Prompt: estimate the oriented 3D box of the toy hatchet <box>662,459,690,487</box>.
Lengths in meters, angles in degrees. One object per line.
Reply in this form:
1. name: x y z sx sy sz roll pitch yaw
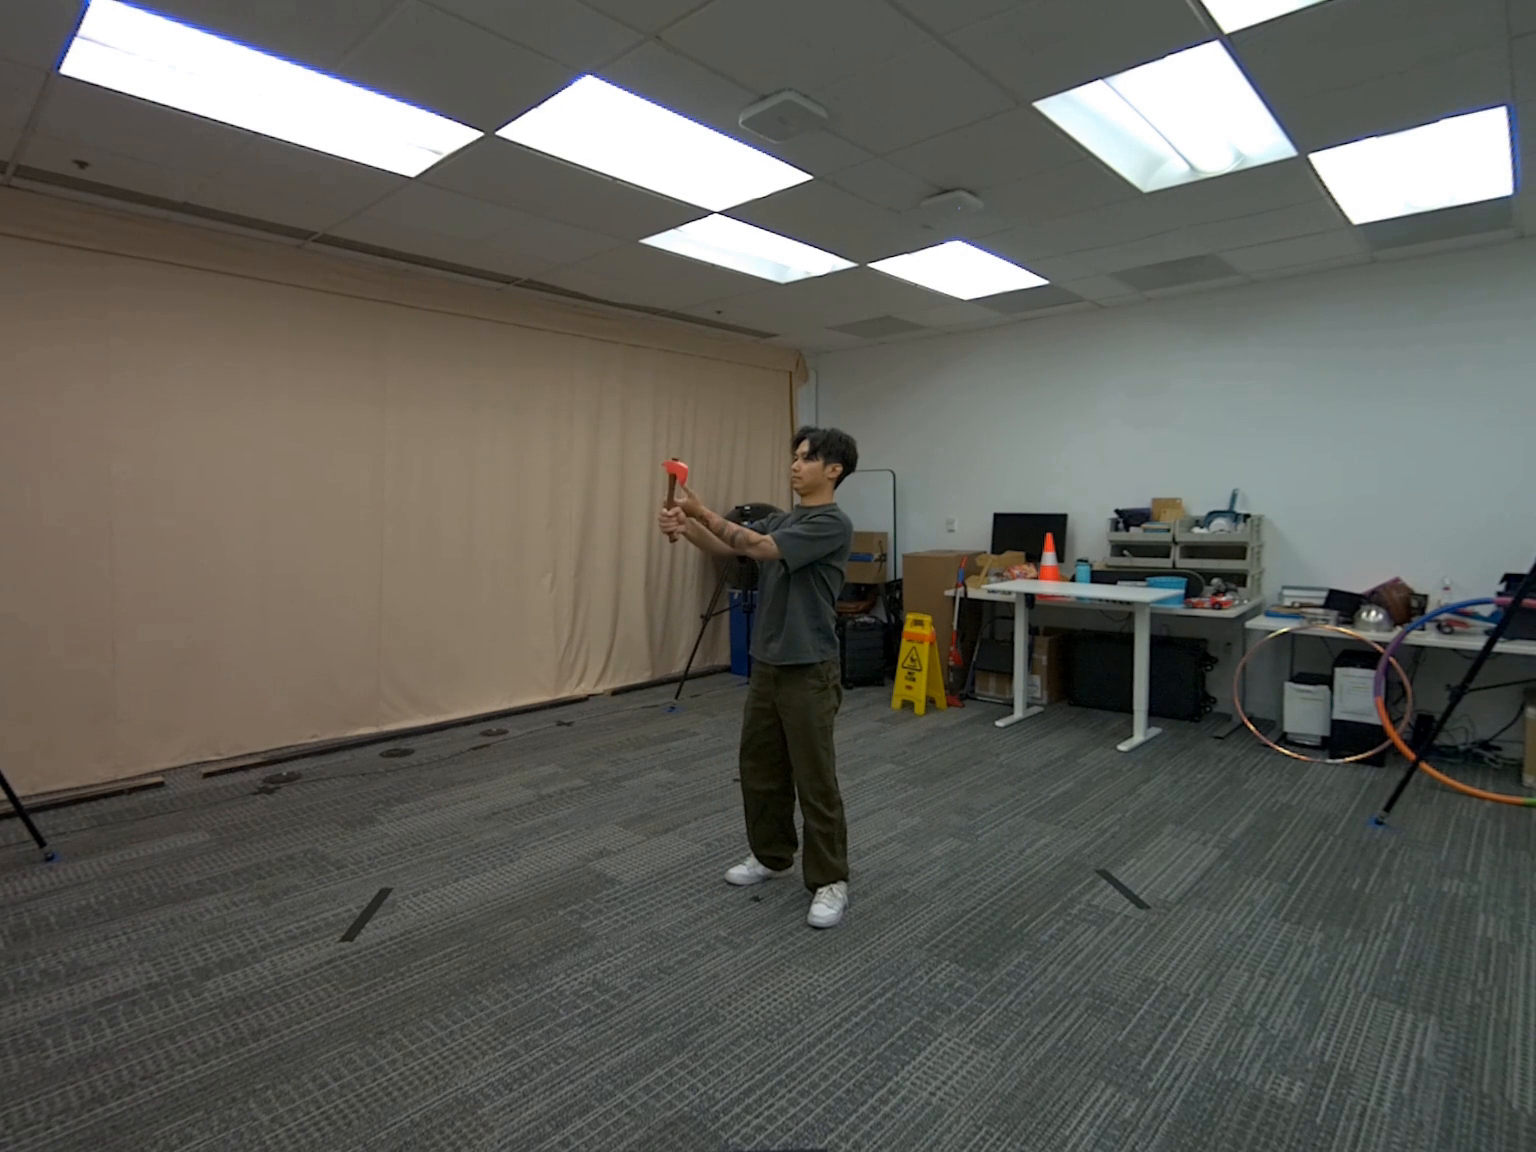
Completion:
1. toy hatchet: -0.286 -0.246 2.720 0.029 0.271 0.135 -1 -4 -43
